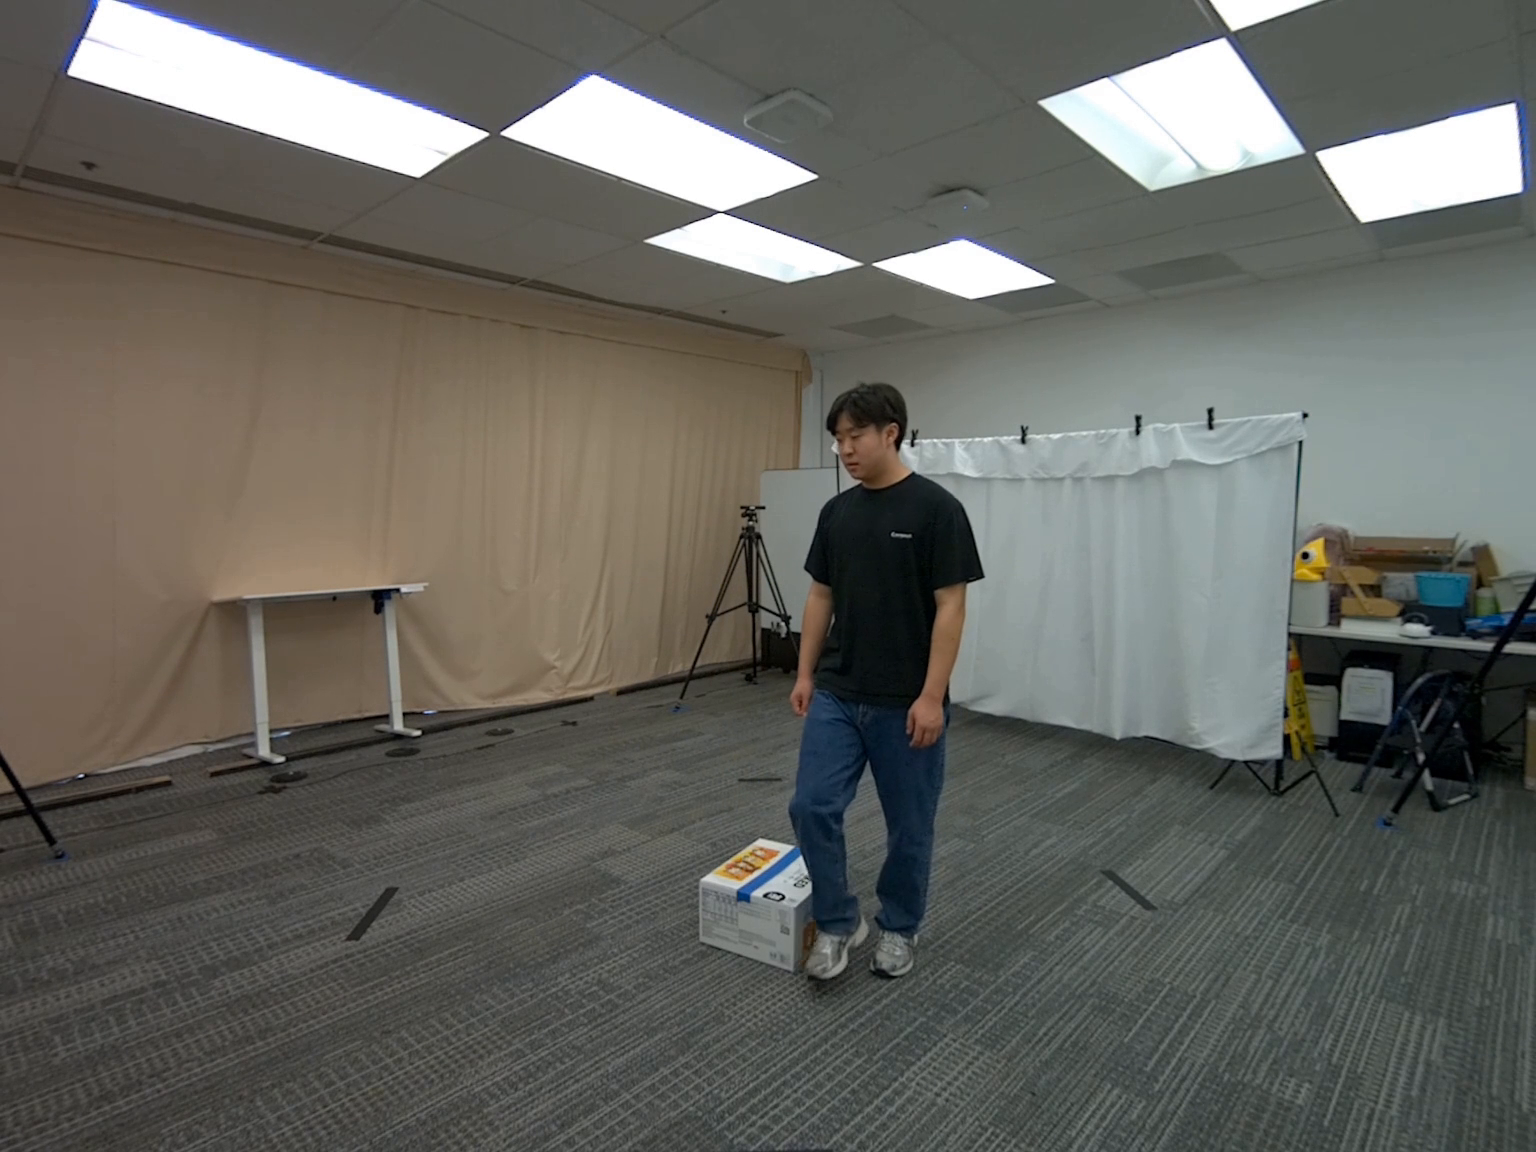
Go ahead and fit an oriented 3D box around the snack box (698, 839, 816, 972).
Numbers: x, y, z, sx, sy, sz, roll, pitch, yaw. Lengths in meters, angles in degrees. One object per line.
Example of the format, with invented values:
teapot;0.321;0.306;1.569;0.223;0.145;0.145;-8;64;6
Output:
snack box;0.029;1.062;2.754;0.350;0.205;0.394;2;5;30
